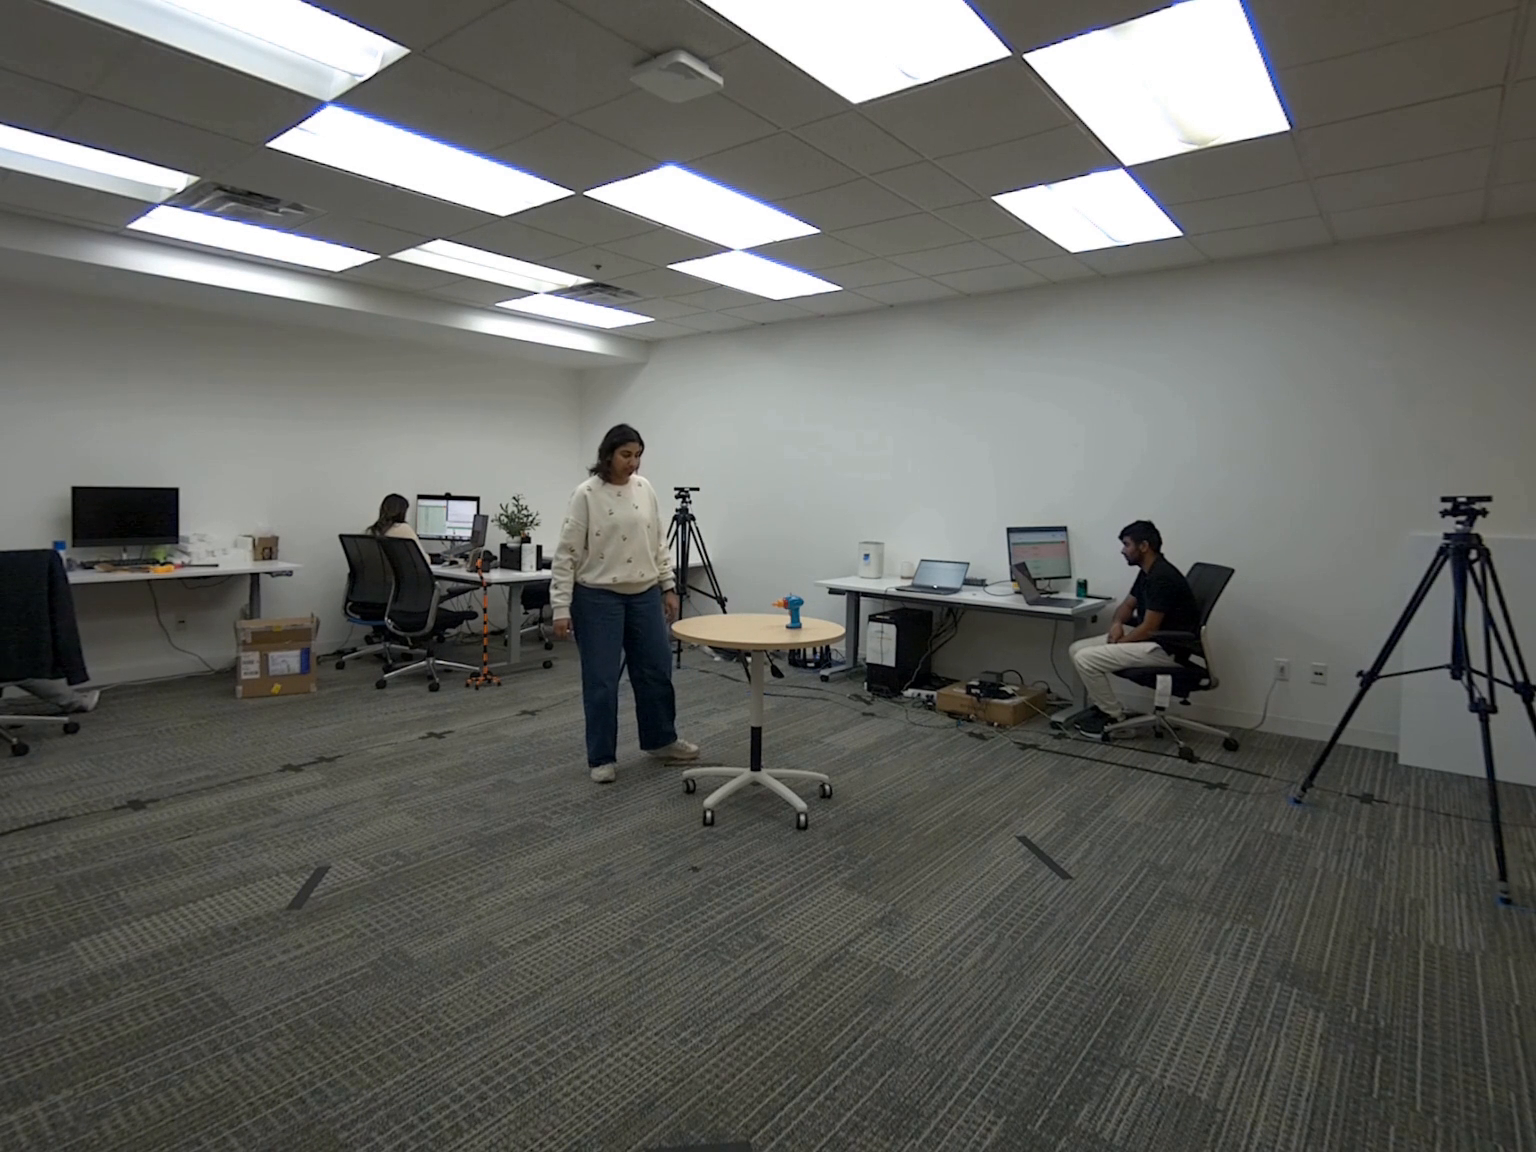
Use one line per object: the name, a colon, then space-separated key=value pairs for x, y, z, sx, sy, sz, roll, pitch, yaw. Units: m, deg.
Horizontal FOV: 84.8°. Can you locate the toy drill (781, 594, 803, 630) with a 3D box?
toy drill: x=0.078 y=0.154 z=3.729 sx=0.165 sy=0.145 sz=0.063 roll=-3 pitch=8 yaw=-30
